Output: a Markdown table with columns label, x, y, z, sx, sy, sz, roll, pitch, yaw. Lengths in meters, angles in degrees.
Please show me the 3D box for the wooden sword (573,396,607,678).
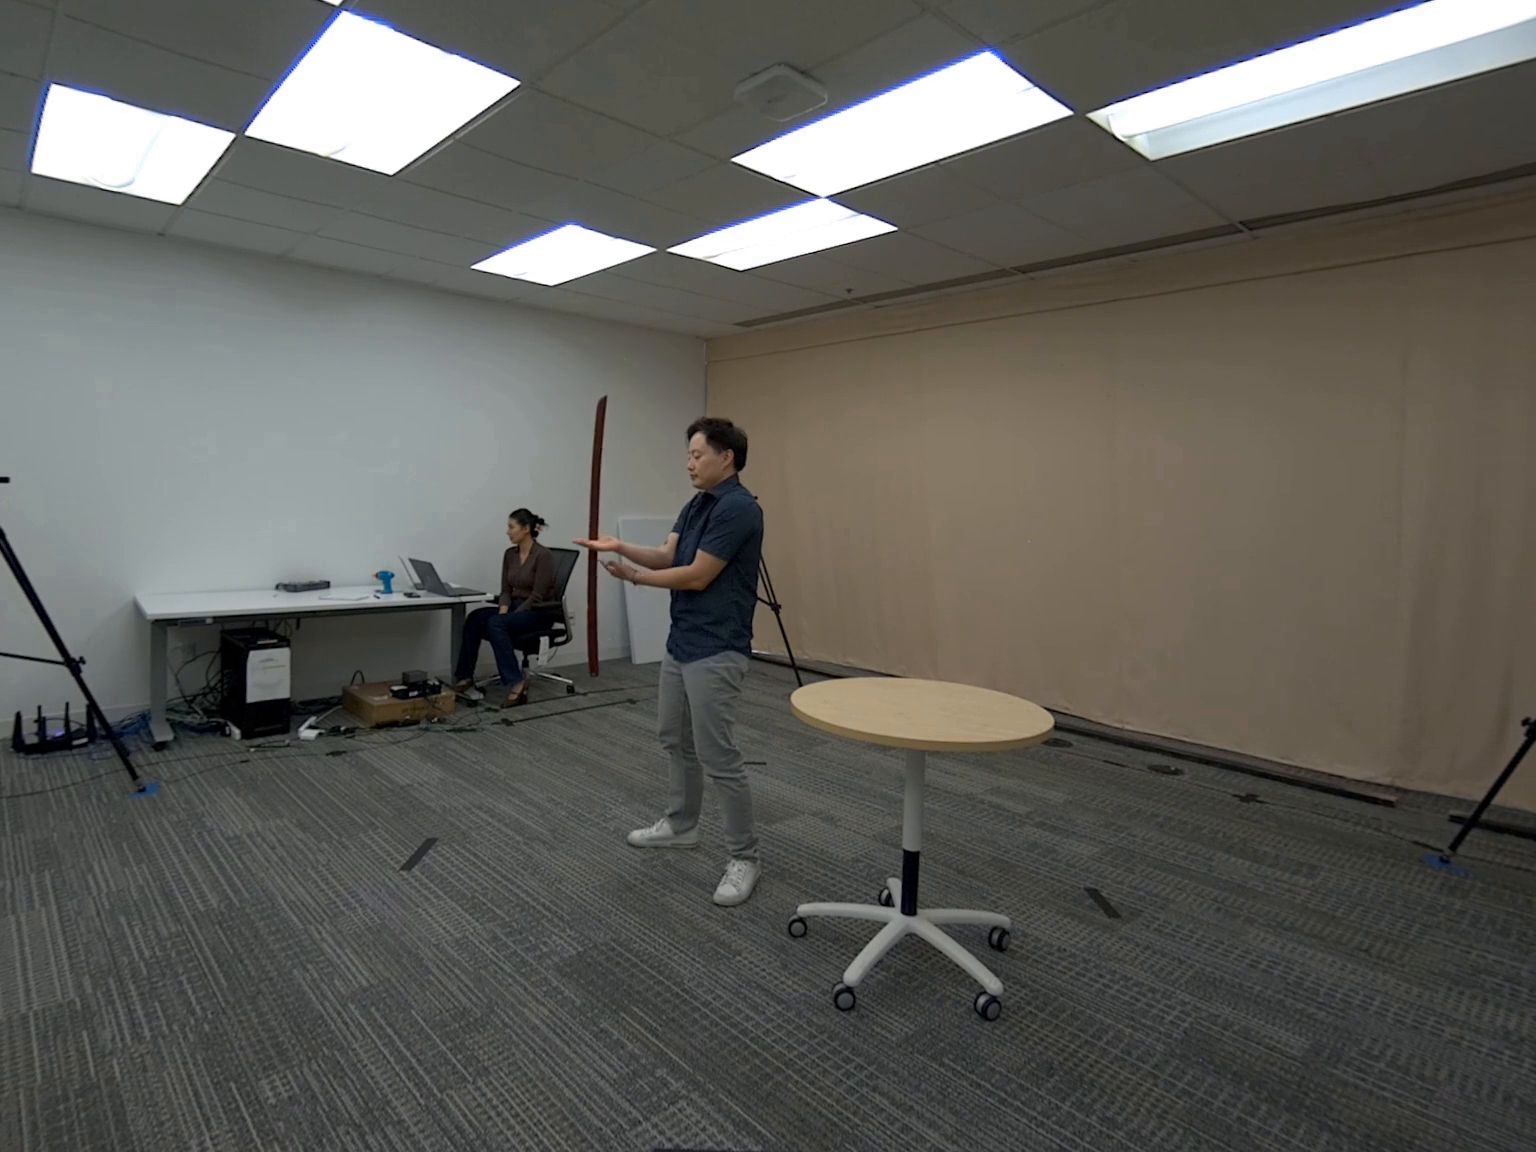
| label | x | y | z | sx | sy | sz | roll | pitch | yaw |
| --- | --- | --- | --- | --- | --- | --- | --- | --- | --- |
| wooden sword | -0.619 | -0.118 | 2.966 | 0.025 | 1.012 | 0.050 | 17 | 22 | 31 |
